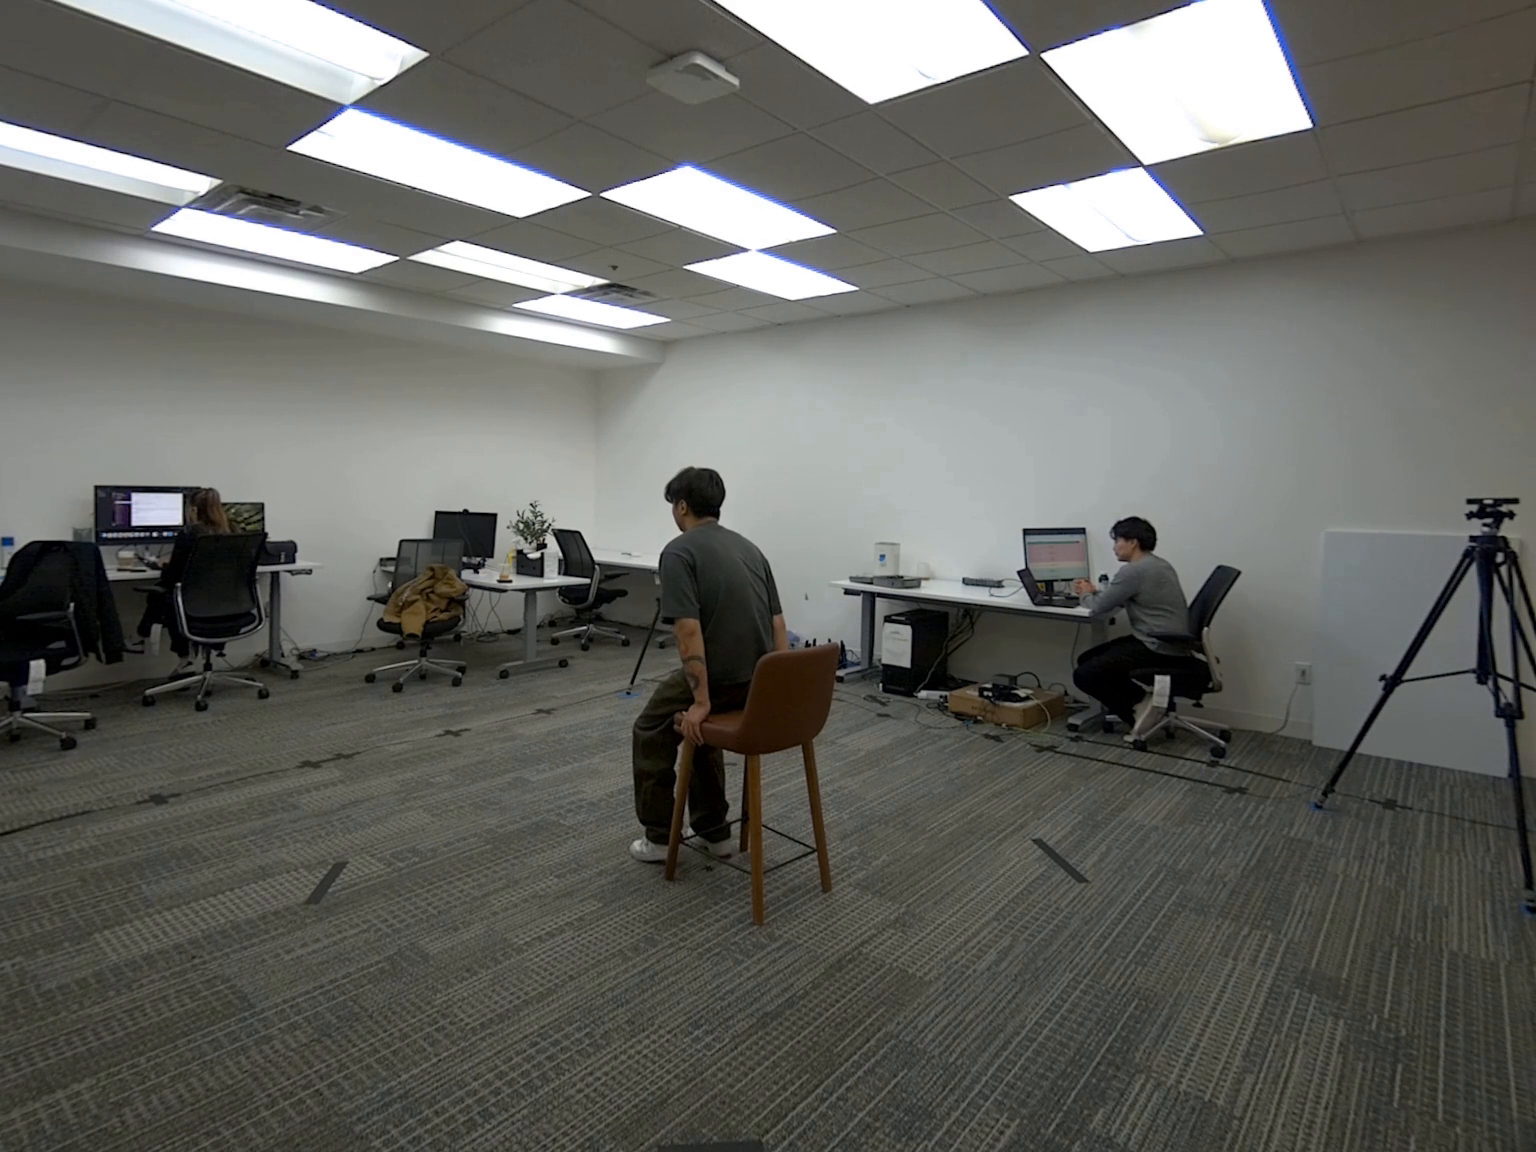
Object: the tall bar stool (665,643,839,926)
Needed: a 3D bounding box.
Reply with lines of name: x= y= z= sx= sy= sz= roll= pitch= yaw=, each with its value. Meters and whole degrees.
tall bar stool: x=-0.055 y=0.647 z=2.960 sx=0.484 sy=0.886 sz=0.442 roll=6 pitch=6 yaw=43
